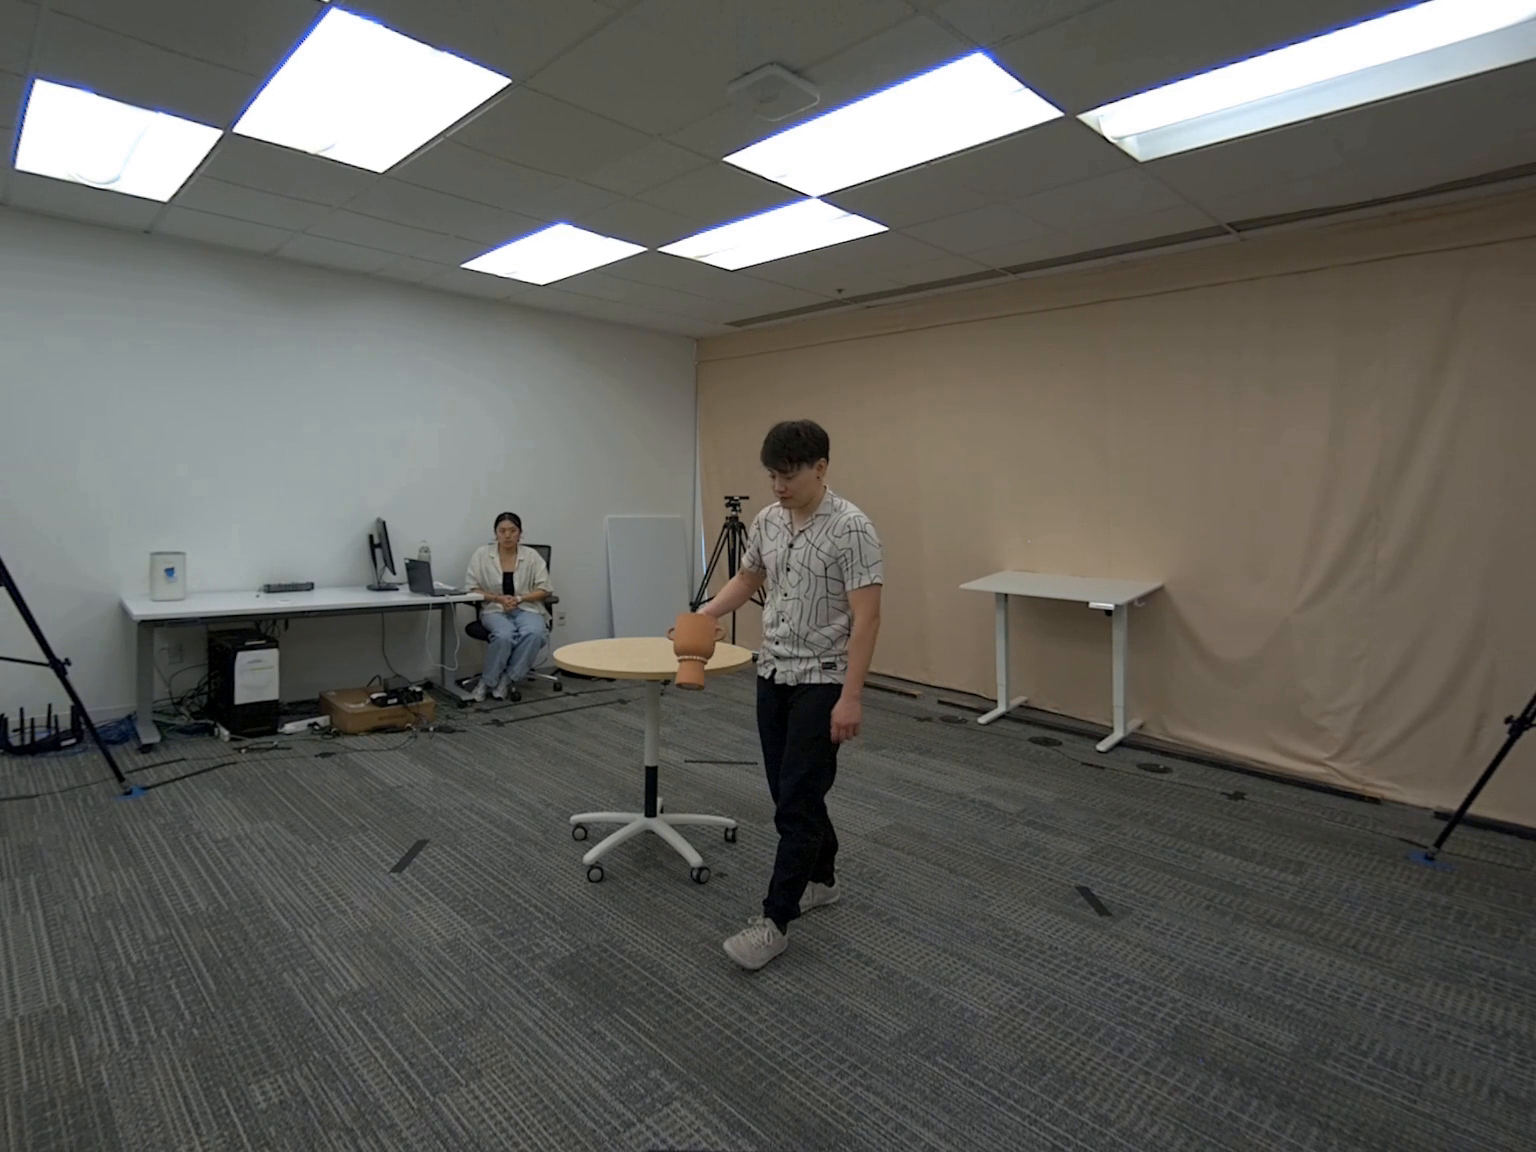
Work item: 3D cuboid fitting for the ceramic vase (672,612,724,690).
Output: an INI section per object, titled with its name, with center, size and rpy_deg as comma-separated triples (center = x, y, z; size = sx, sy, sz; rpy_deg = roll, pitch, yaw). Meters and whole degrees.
[ceramic vase]
center = -0.239, 0.238, 2.649
size = 0.131, 0.223, 0.160
rpy_deg = 18, -26, -30
